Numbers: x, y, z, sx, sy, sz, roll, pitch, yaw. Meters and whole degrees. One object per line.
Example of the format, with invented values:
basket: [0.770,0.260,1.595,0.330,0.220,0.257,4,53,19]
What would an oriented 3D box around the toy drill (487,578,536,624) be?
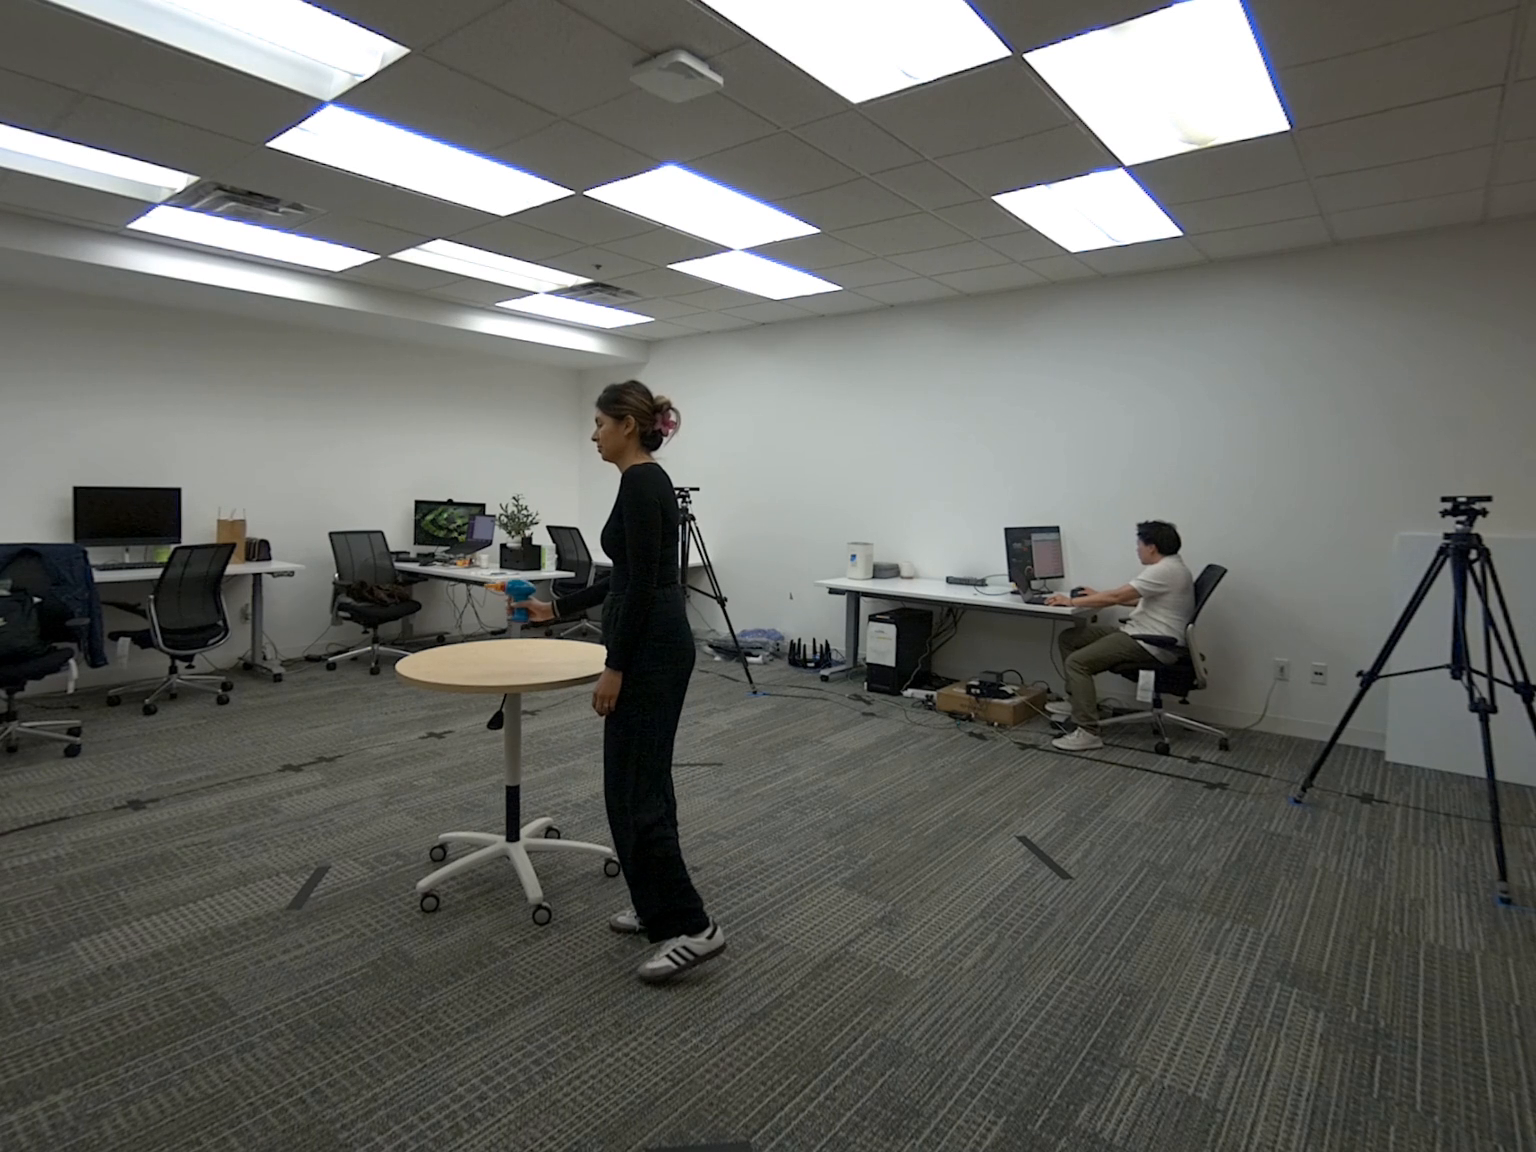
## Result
toy drill: [-0.878,0.074,2.855,0.169,0.146,0.061,4,-1,-5]
